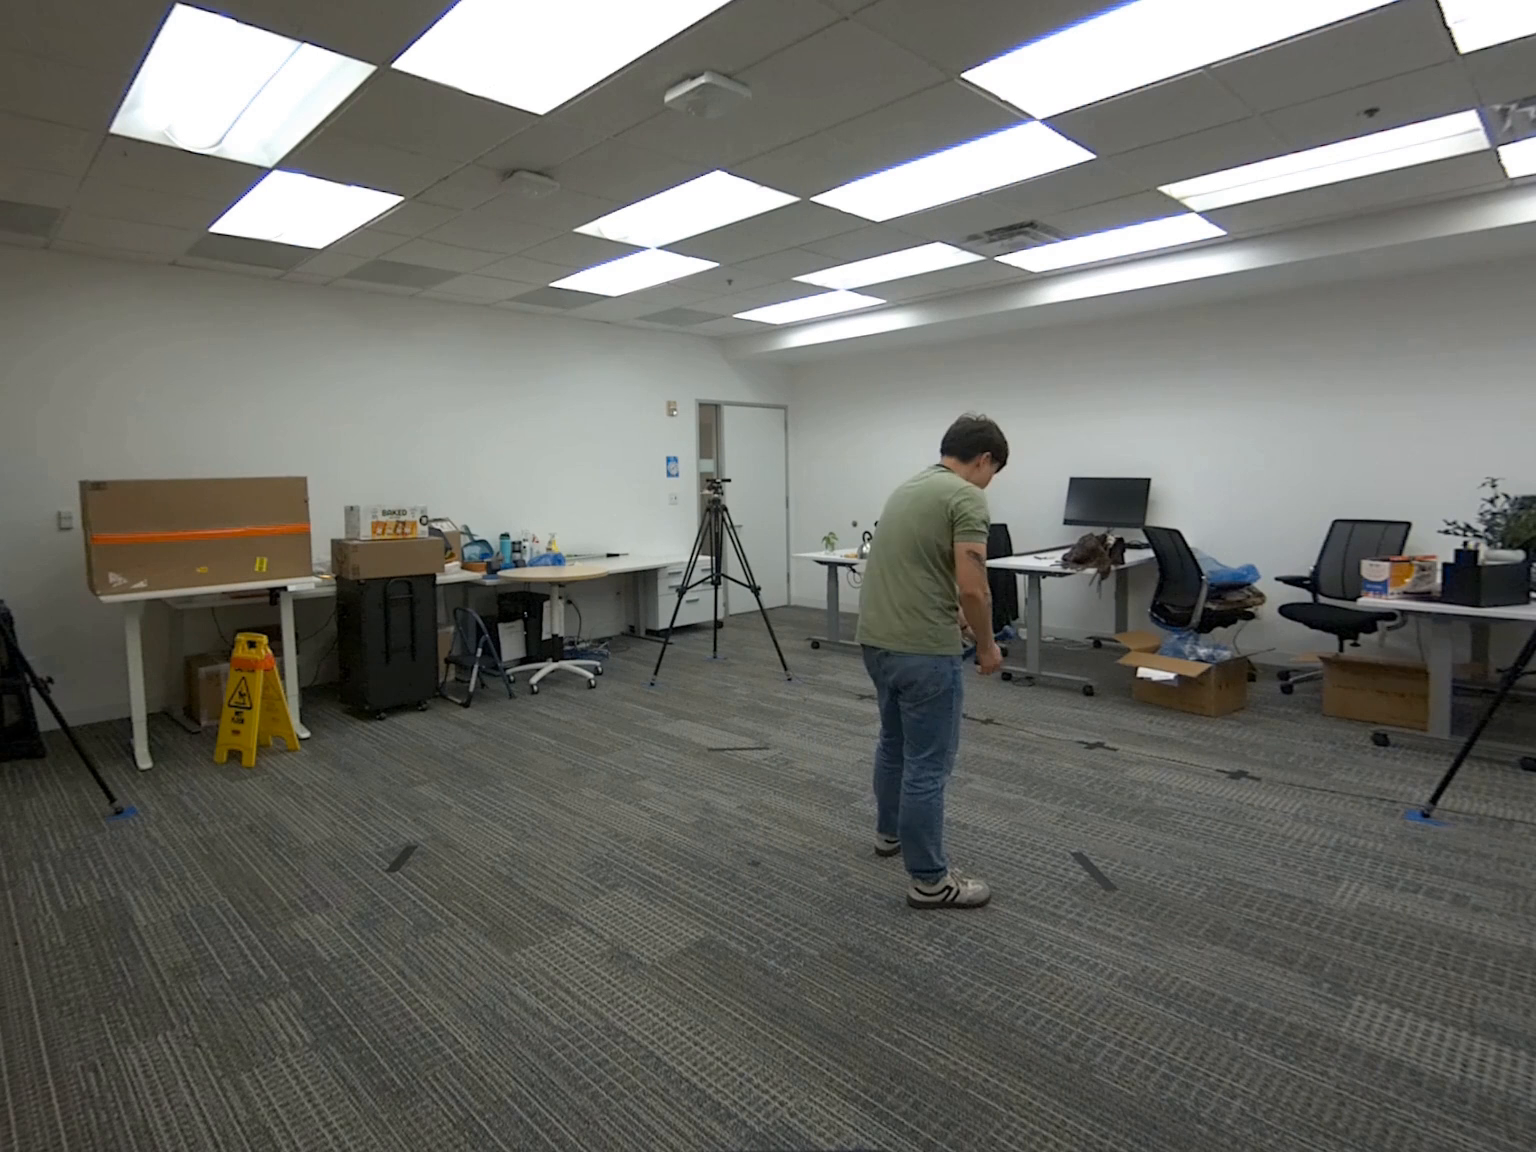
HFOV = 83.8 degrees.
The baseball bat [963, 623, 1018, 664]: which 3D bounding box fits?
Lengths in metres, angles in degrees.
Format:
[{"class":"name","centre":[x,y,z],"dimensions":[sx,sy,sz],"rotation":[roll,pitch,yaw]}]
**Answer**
[{"class":"baseball bat","centre":[0.698,0.323,3.234],"dimensions":[0.547,0.091,0.087],"rotation":[-34,-18,37]}]
